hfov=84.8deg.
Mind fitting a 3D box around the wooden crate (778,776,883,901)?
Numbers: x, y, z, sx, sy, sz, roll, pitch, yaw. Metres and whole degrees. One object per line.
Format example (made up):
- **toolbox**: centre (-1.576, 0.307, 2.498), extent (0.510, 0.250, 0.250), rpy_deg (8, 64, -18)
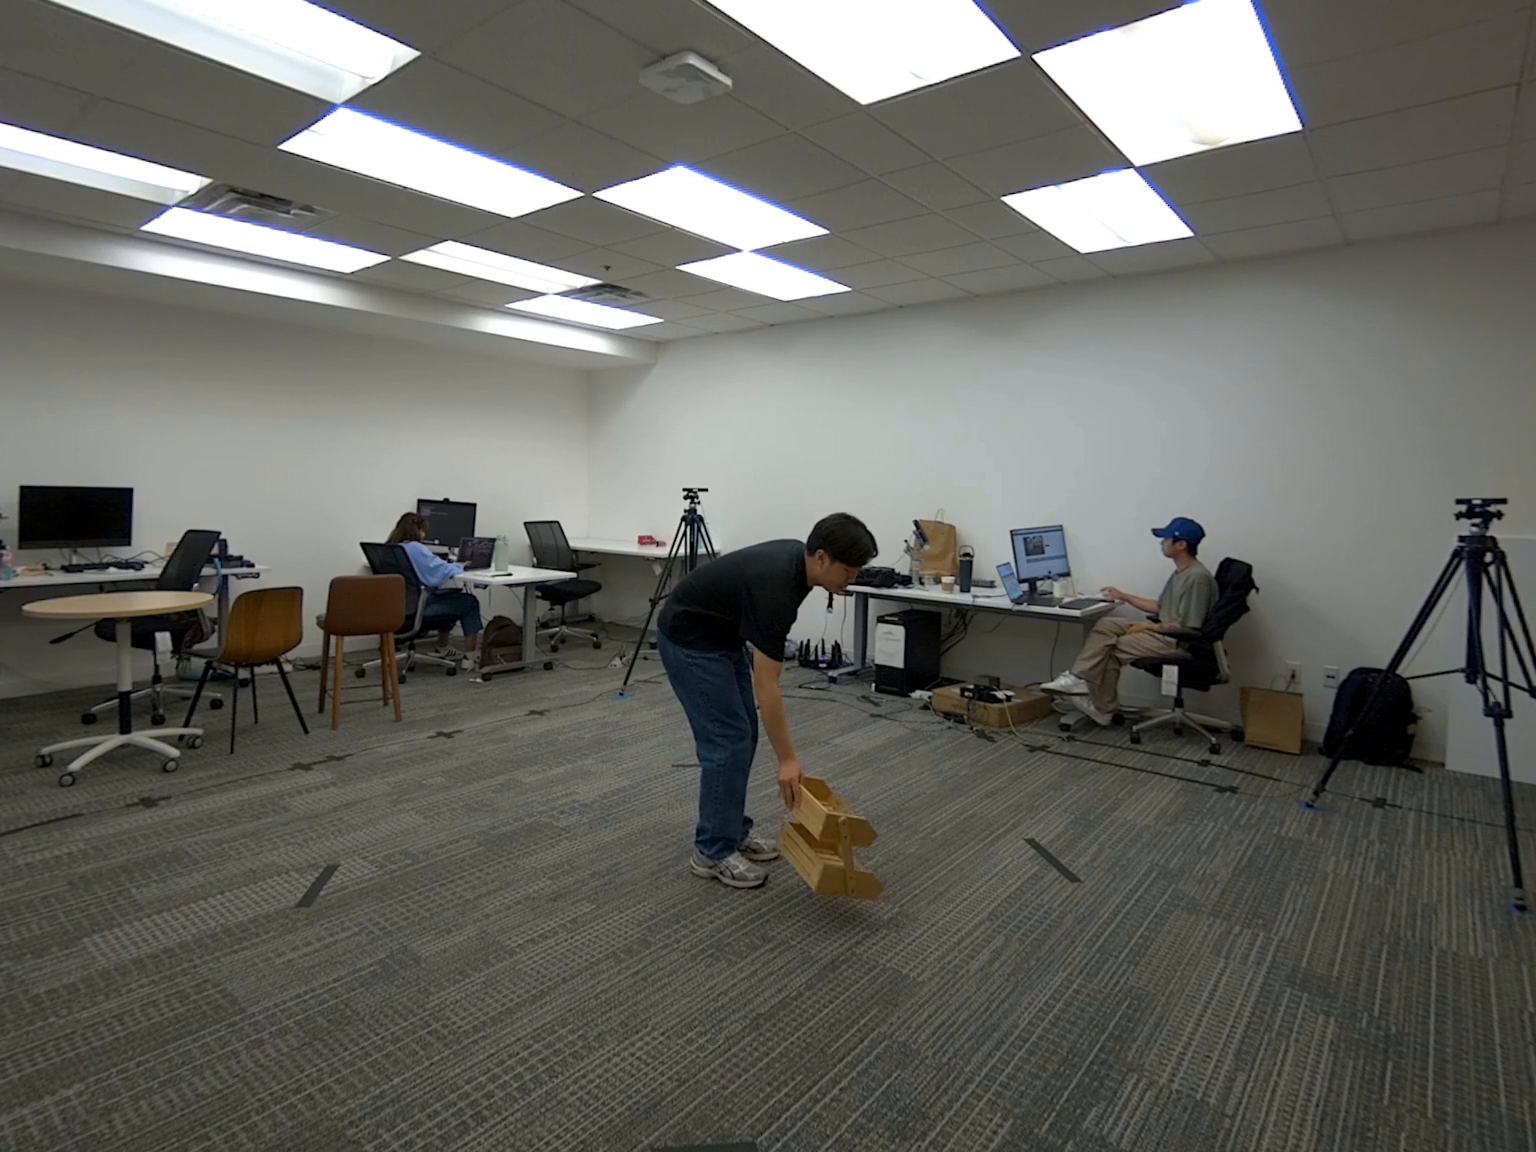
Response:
- **wooden crate**: centre (0.216, 0.844, 2.824), extent (0.294, 0.272, 0.334), rpy_deg (14, 5, -23)
